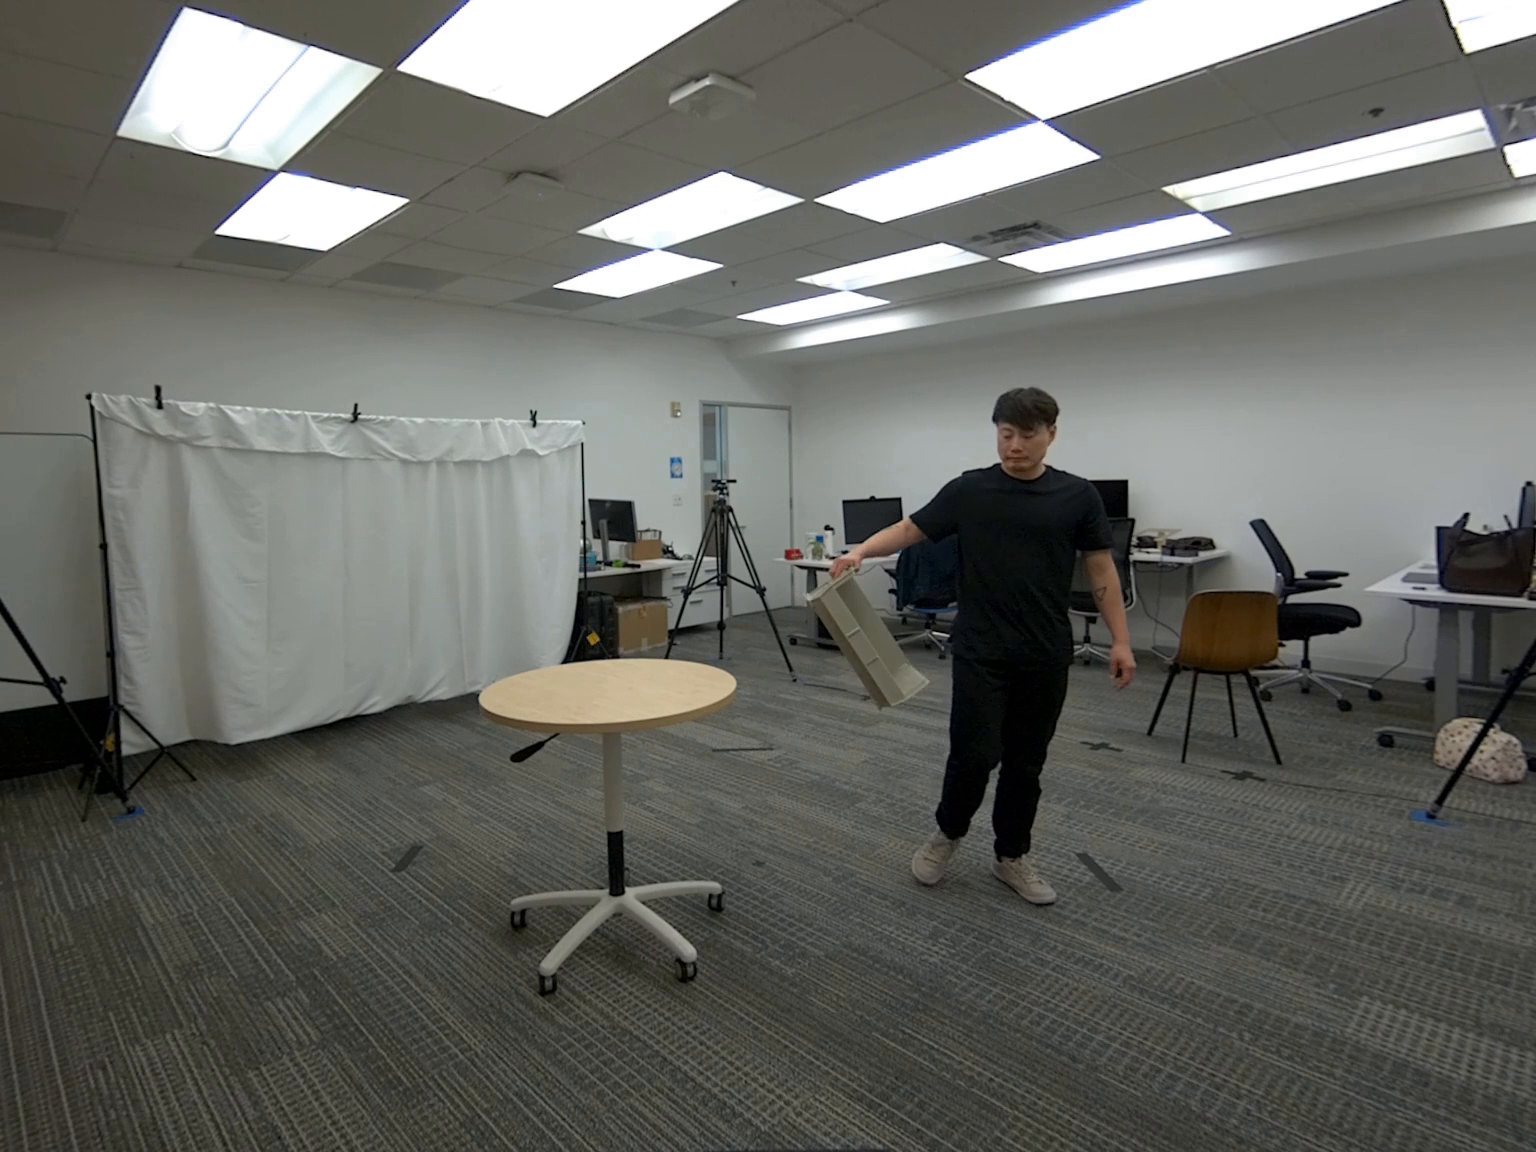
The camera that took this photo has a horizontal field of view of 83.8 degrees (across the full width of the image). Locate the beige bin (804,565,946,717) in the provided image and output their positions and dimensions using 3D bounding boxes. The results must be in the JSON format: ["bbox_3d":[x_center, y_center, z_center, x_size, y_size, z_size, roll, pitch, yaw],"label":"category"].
[{"bbox_3d":[0.332,0.190,2.795,0.189,0.422,0.378,-34,1,-1],"label":"beige bin"}]
